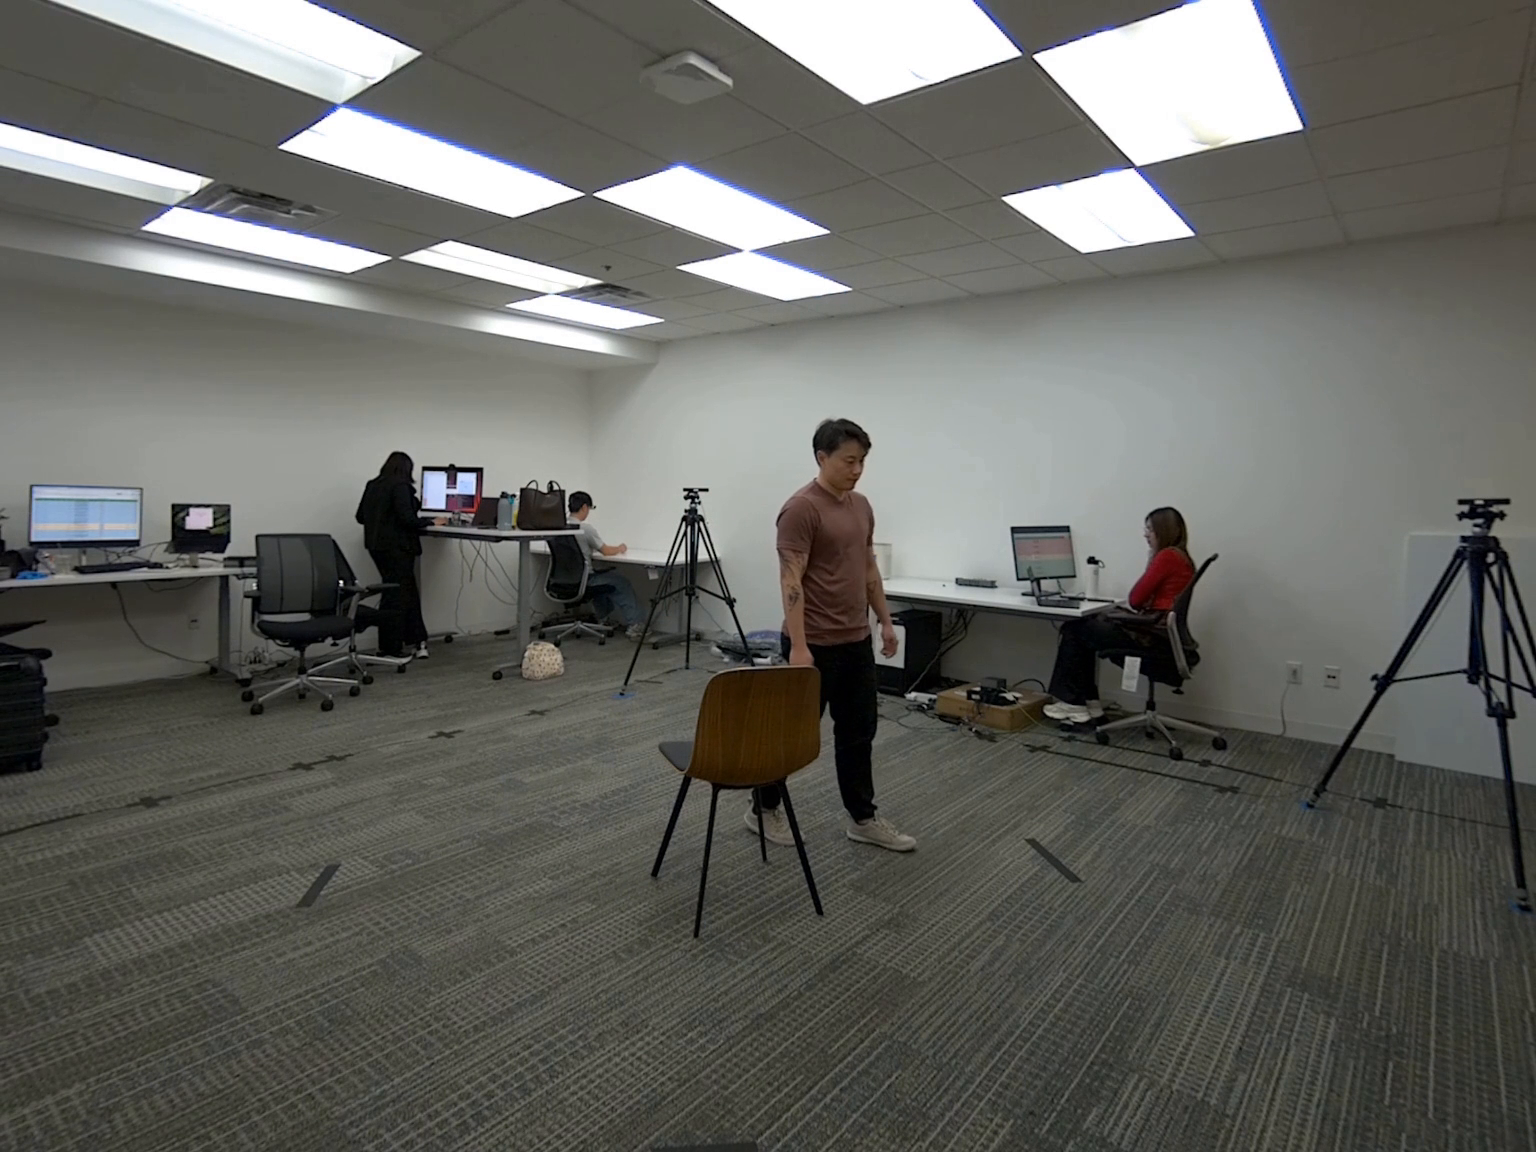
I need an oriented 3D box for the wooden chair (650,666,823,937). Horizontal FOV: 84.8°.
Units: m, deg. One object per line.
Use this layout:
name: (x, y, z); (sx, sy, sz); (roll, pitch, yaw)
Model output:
wooden chair: (-0.119, 0.668, 2.889); (0.467, 0.872, 0.538); (0, 8, -23)
